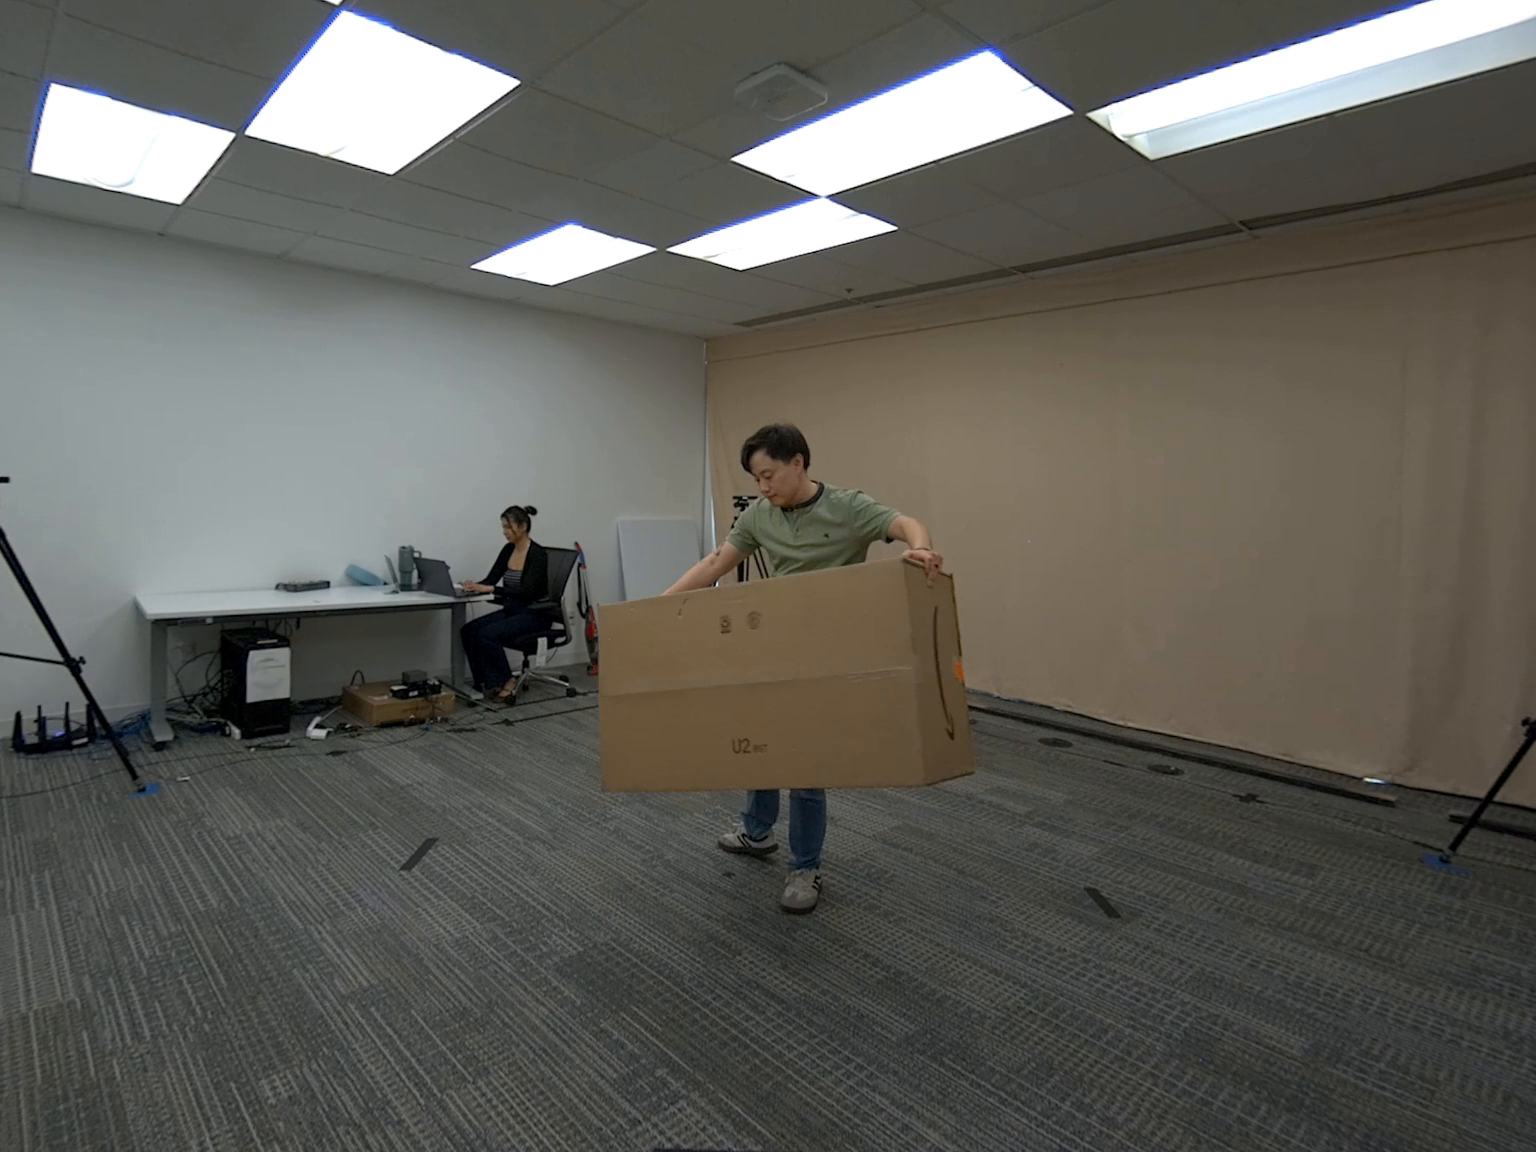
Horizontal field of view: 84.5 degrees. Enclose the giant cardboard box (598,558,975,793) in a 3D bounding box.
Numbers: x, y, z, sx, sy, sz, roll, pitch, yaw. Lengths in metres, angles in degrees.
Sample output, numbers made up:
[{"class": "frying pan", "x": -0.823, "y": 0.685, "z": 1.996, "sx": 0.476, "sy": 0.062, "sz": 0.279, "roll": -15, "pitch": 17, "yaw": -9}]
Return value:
[{"class": "giant cardboard box", "x": 0.019, "y": 0.330, "z": 2.532, "sx": 1.043, "sy": 0.583, "sz": 0.415, "roll": -10, "pitch": -13, "yaw": 29}]
